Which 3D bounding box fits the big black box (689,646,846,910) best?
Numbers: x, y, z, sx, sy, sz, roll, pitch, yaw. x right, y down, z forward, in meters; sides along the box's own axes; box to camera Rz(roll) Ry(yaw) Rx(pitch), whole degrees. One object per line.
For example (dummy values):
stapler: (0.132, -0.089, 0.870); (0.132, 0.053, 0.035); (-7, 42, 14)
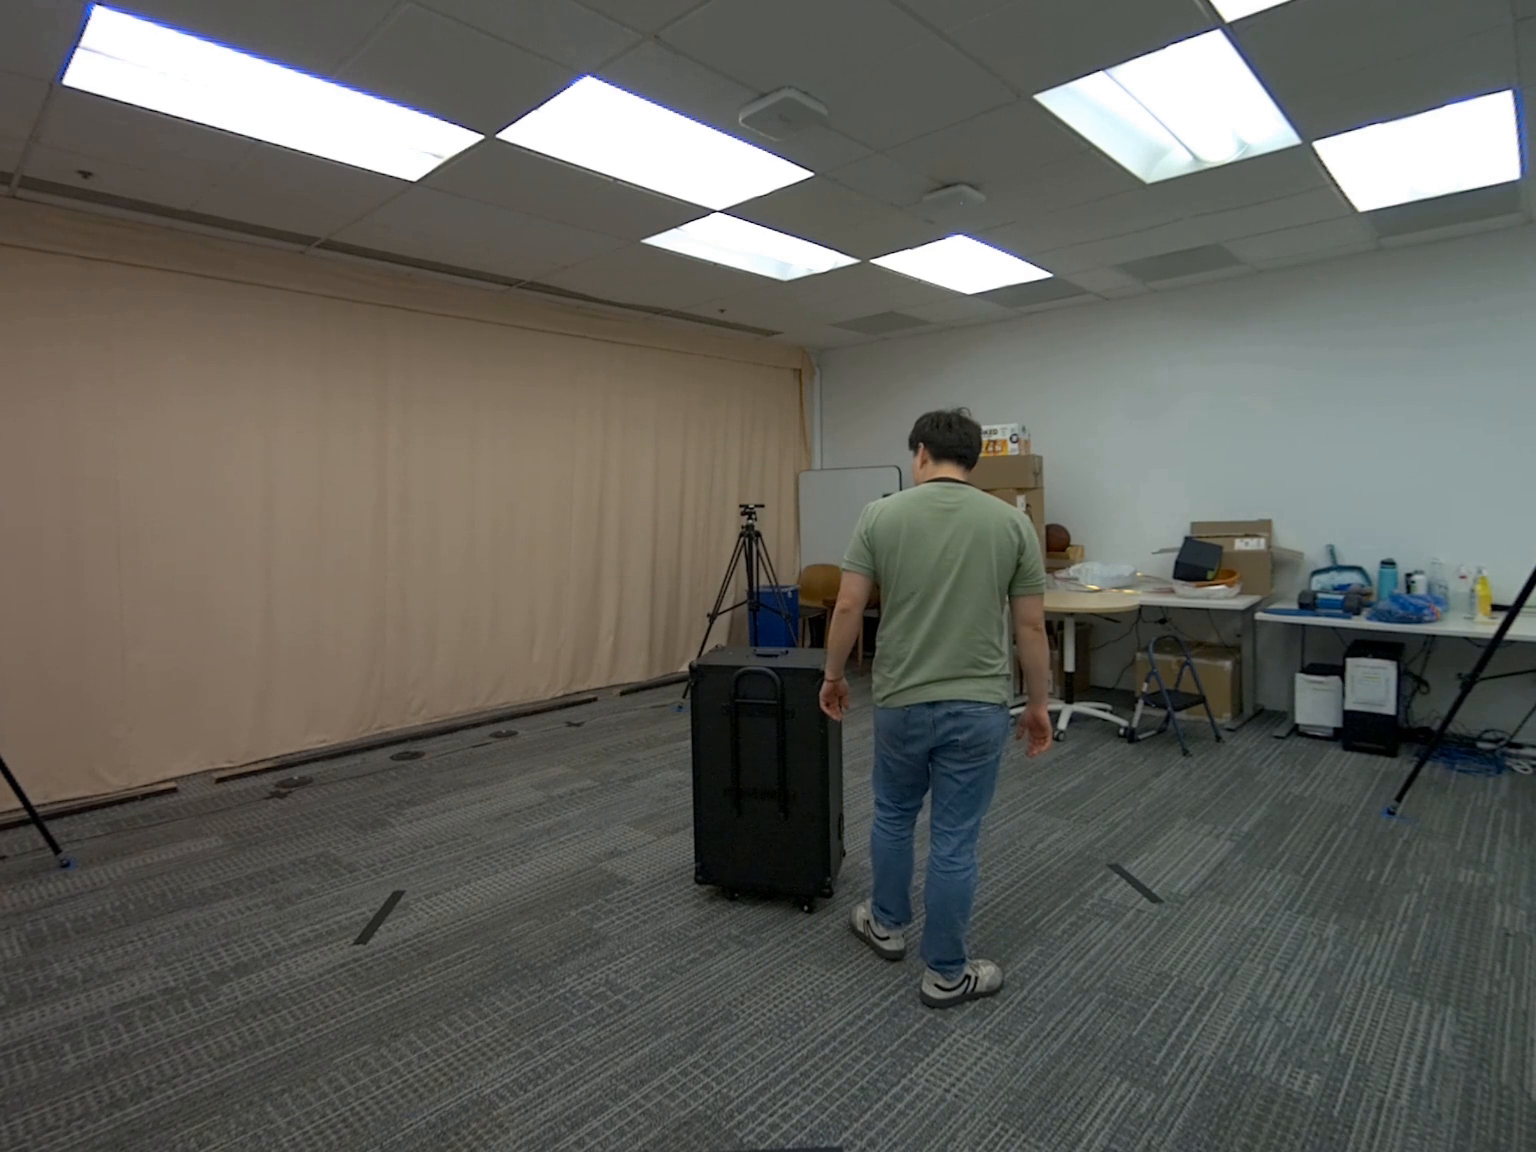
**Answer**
big black box: (0.013, 0.709, 3.020); (0.530, 0.859, 0.391); (0, 4, 15)
